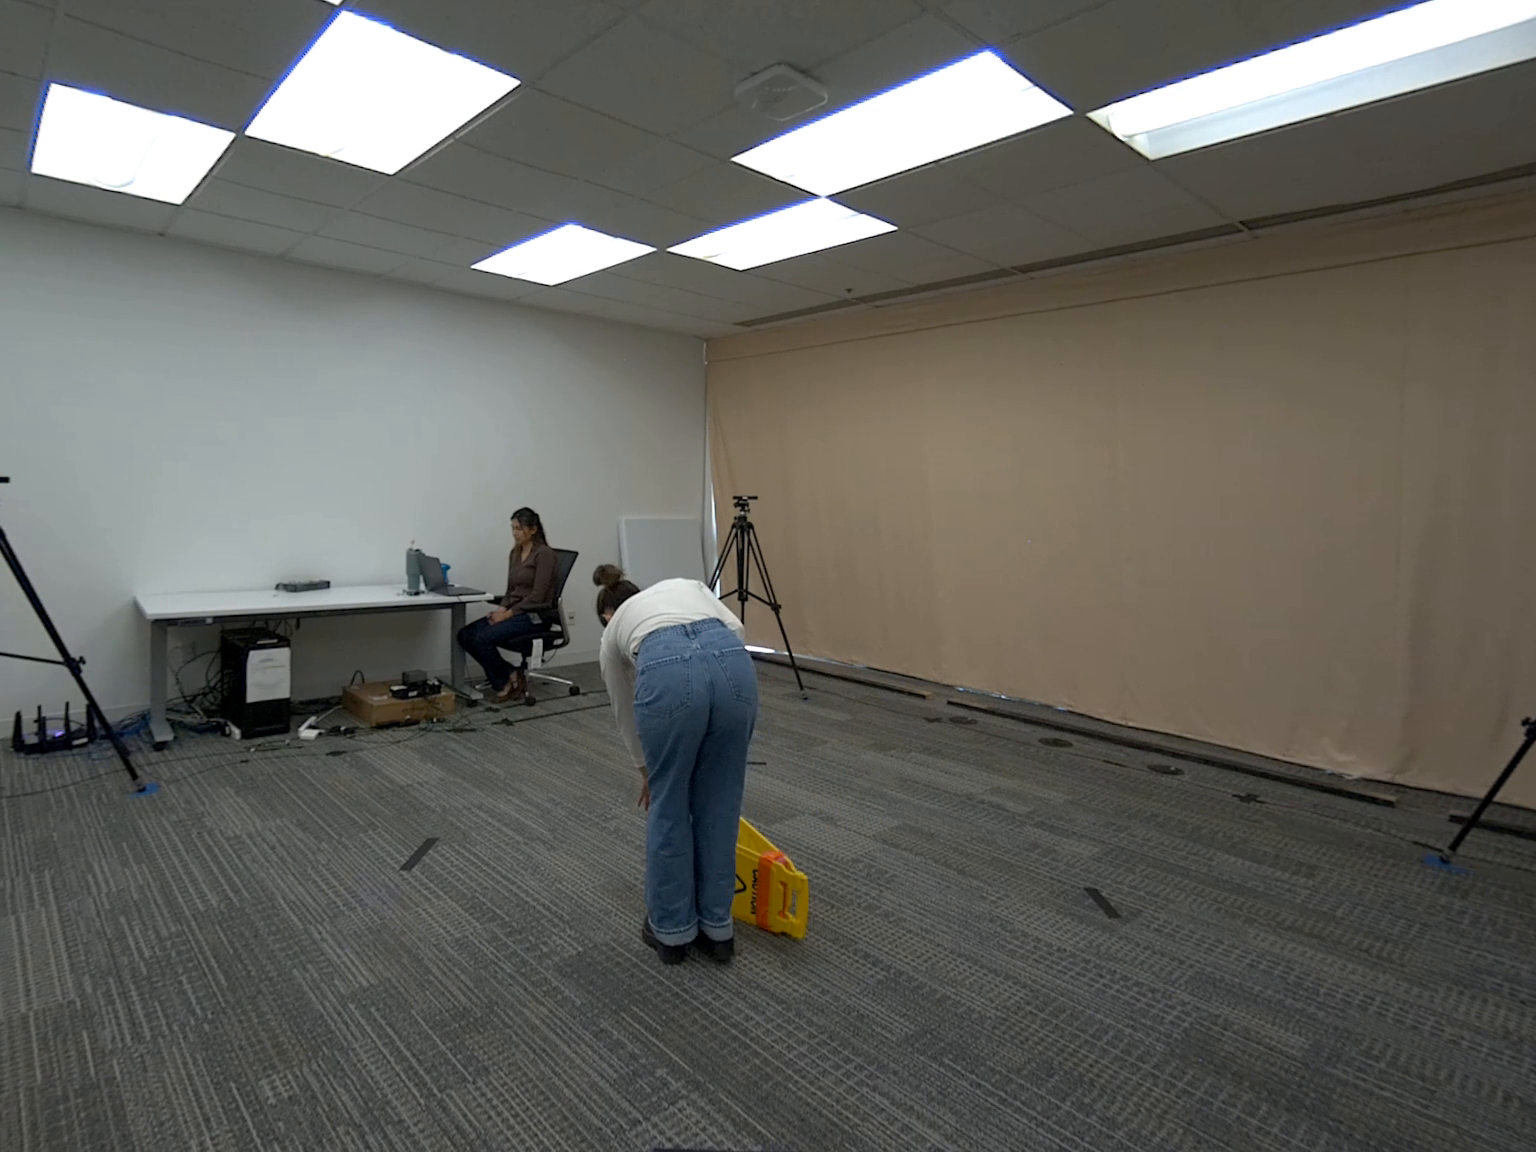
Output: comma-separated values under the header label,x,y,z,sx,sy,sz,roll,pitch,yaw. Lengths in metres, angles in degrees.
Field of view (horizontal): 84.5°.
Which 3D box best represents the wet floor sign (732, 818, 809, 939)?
label,x,y,z,sx,sy,sz,roll,pitch,yaw
wet floor sign,-0.107,0.999,2.854,0.283,0.281,0.663,-3,8,-42
